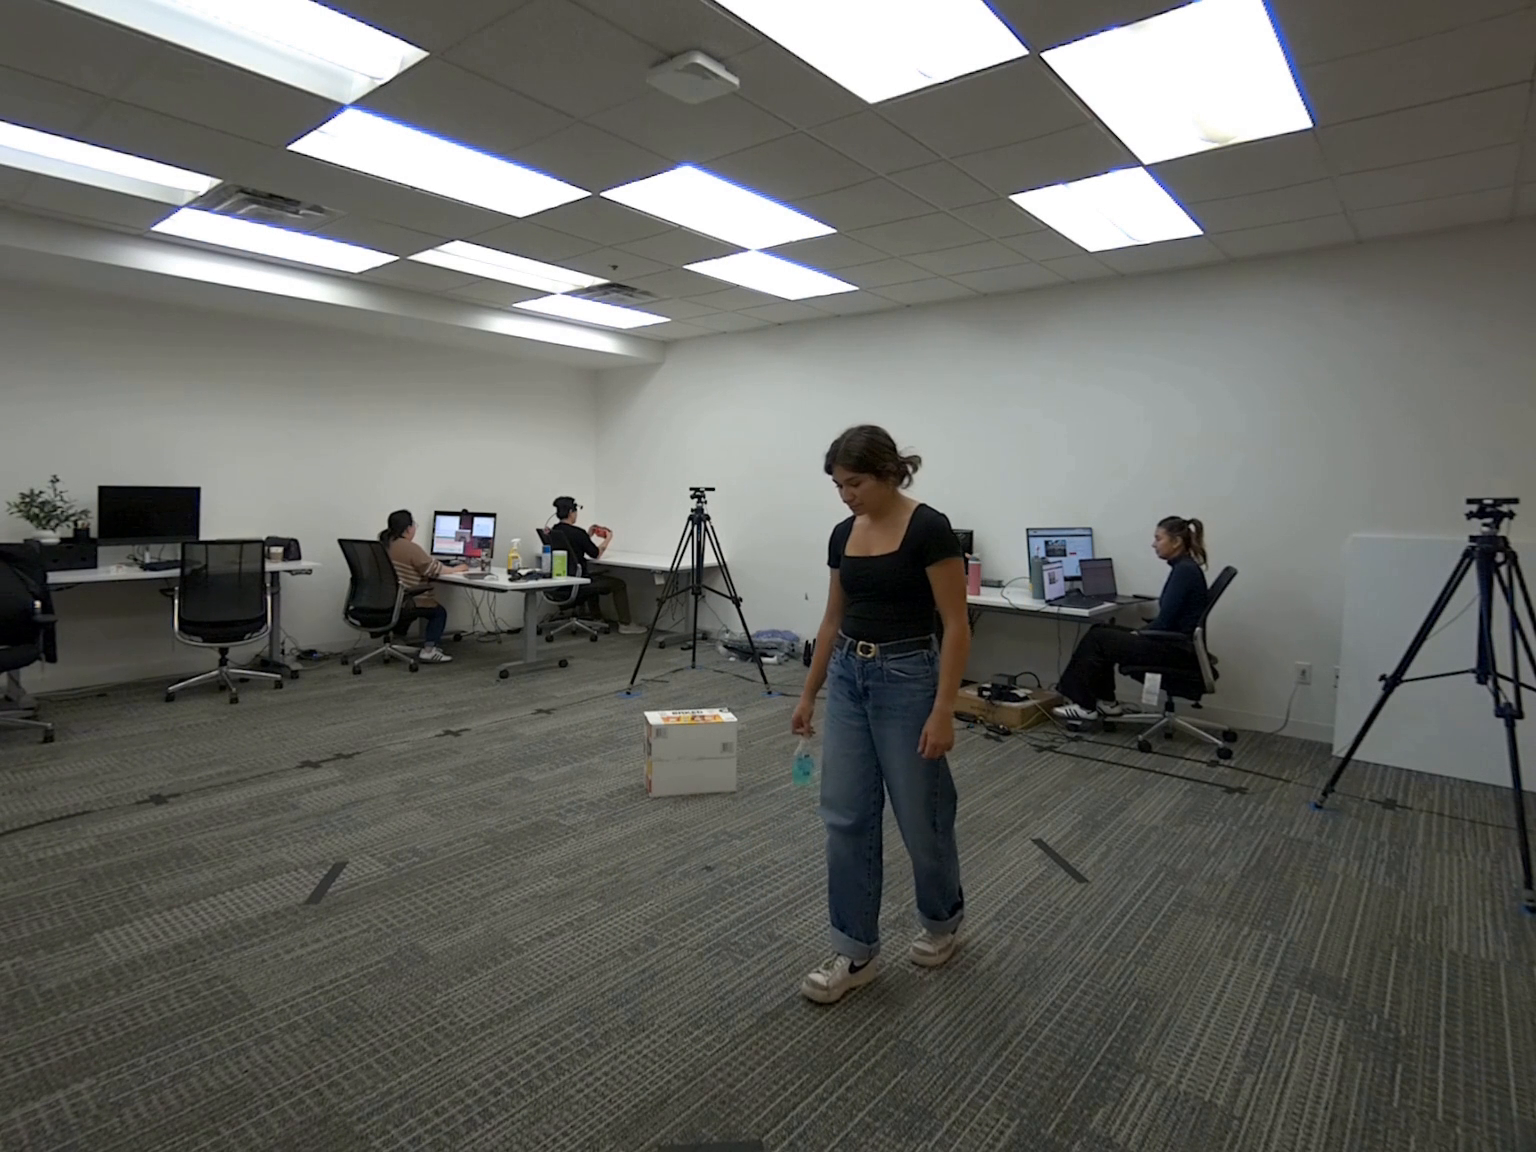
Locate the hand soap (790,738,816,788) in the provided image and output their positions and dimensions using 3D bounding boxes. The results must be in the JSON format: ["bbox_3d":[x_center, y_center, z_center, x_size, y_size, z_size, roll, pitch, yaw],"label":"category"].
[{"bbox_3d":[0.104,0.546,2.561,0.082,0.168,0.045,-1,2,-32],"label":"hand soap"}]
